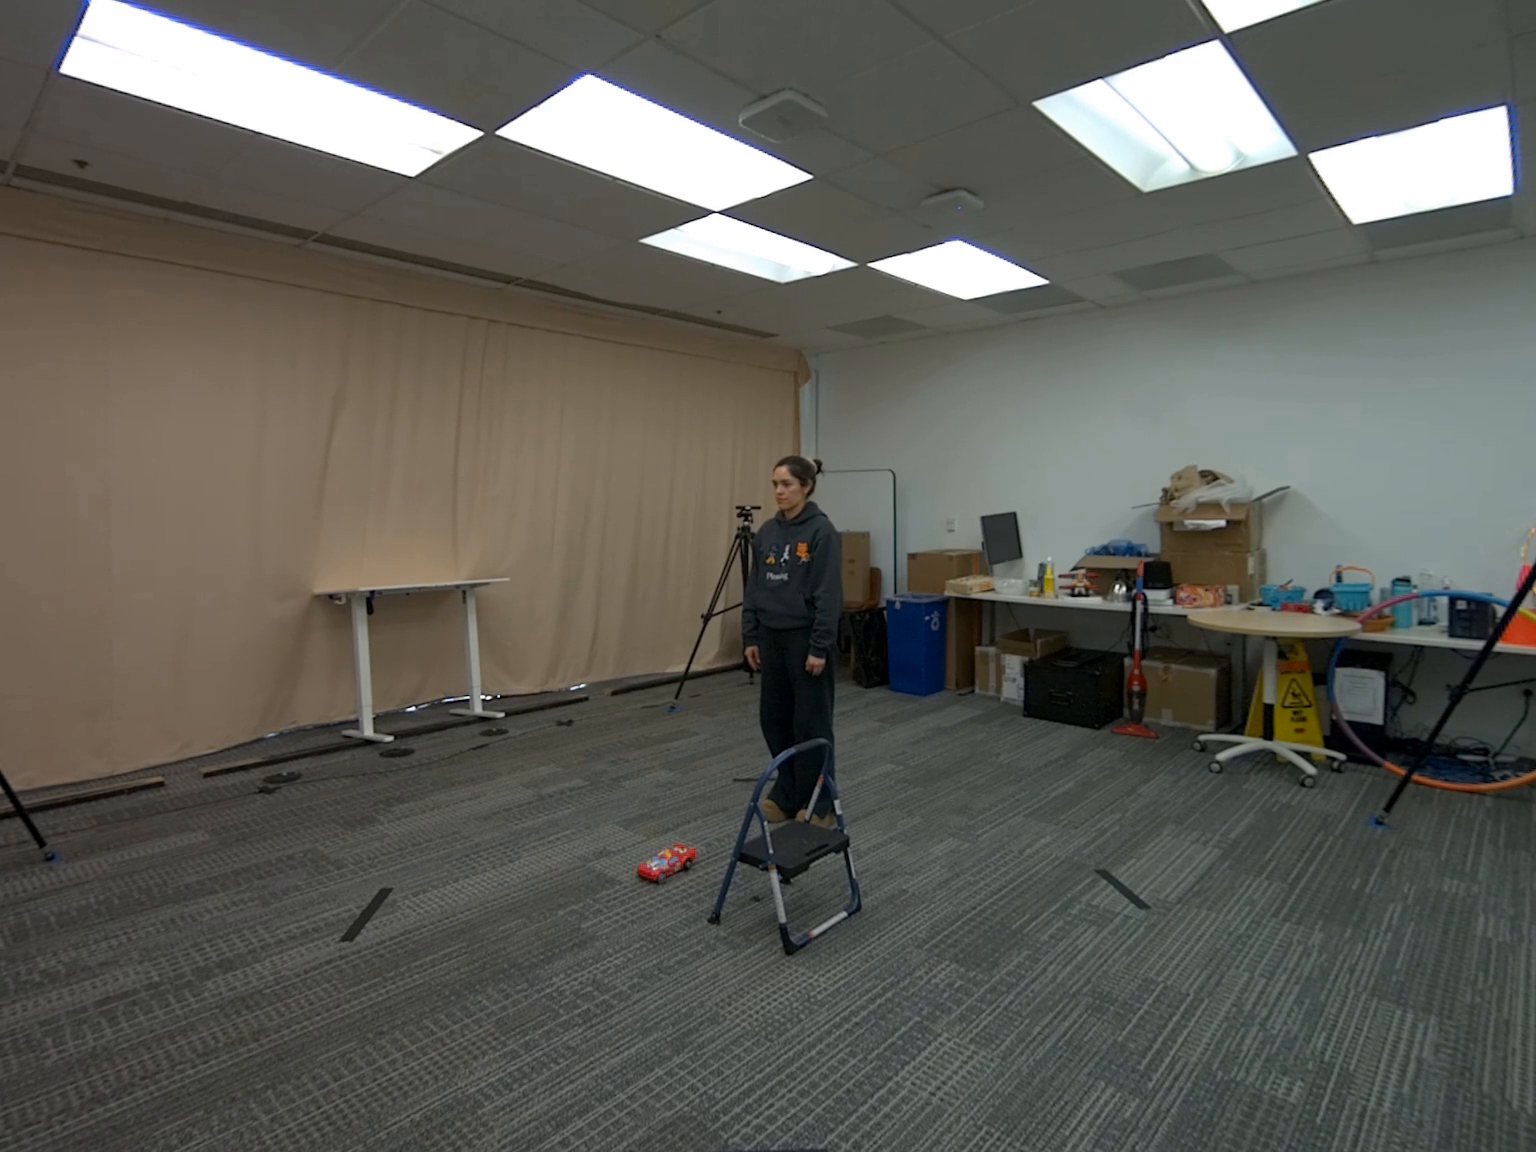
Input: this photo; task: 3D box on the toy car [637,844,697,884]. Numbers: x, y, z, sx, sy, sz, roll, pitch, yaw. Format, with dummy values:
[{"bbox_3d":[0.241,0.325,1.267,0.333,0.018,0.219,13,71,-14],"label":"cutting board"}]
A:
[{"bbox_3d":[-0.358,1.099,3.216,0.134,0.082,0.249,2,16,40],"label":"toy car"}]
